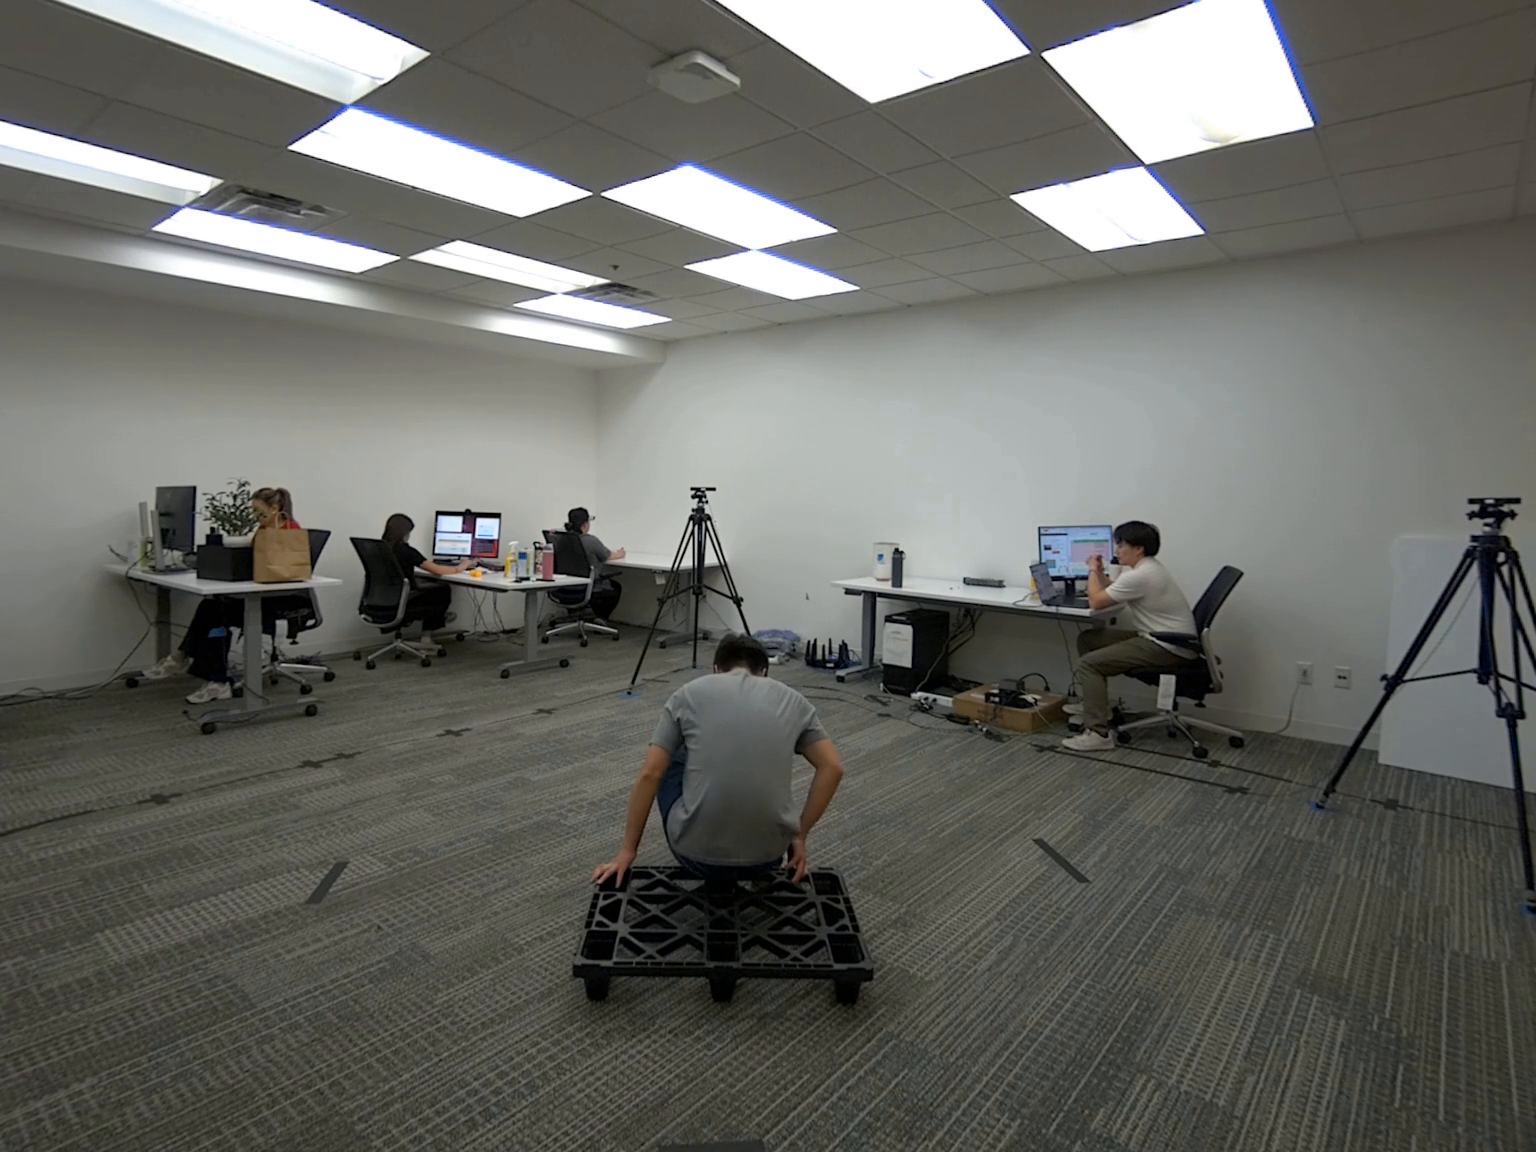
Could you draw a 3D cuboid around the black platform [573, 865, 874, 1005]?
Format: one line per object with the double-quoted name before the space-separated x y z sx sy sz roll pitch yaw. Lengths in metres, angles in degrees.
"black platform" -0.150 1.051 2.533 0.805 0.143 0.608 1 5 -2
